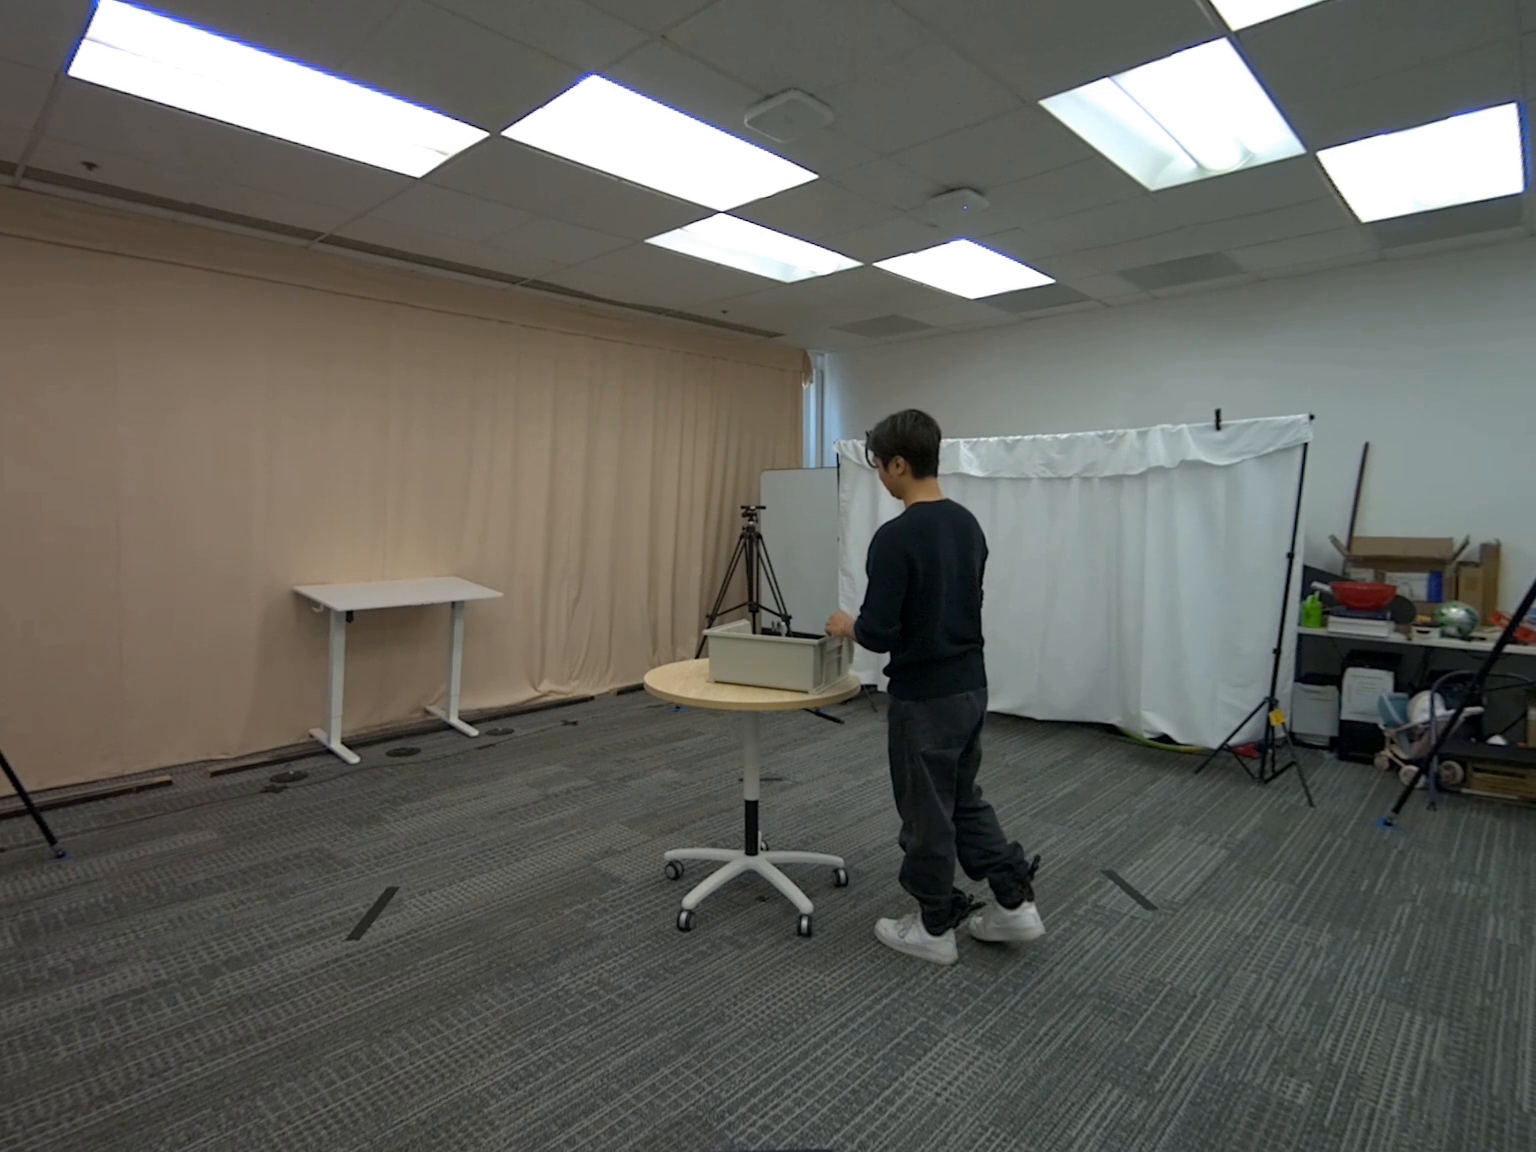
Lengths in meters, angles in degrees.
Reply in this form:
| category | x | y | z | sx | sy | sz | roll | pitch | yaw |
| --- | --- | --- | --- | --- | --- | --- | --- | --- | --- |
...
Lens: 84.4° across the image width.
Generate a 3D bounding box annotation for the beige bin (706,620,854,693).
| category | x | y | z | sx | sy | sz | roll | pitch | yaw |
| --- | --- | --- | --- | --- | --- | --- | --- | --- | --- |
| beige bin | 0.046 | 0.272 | 2.955 | 0.433 | 0.188 | 0.369 | 3 | 7 | 25 |
